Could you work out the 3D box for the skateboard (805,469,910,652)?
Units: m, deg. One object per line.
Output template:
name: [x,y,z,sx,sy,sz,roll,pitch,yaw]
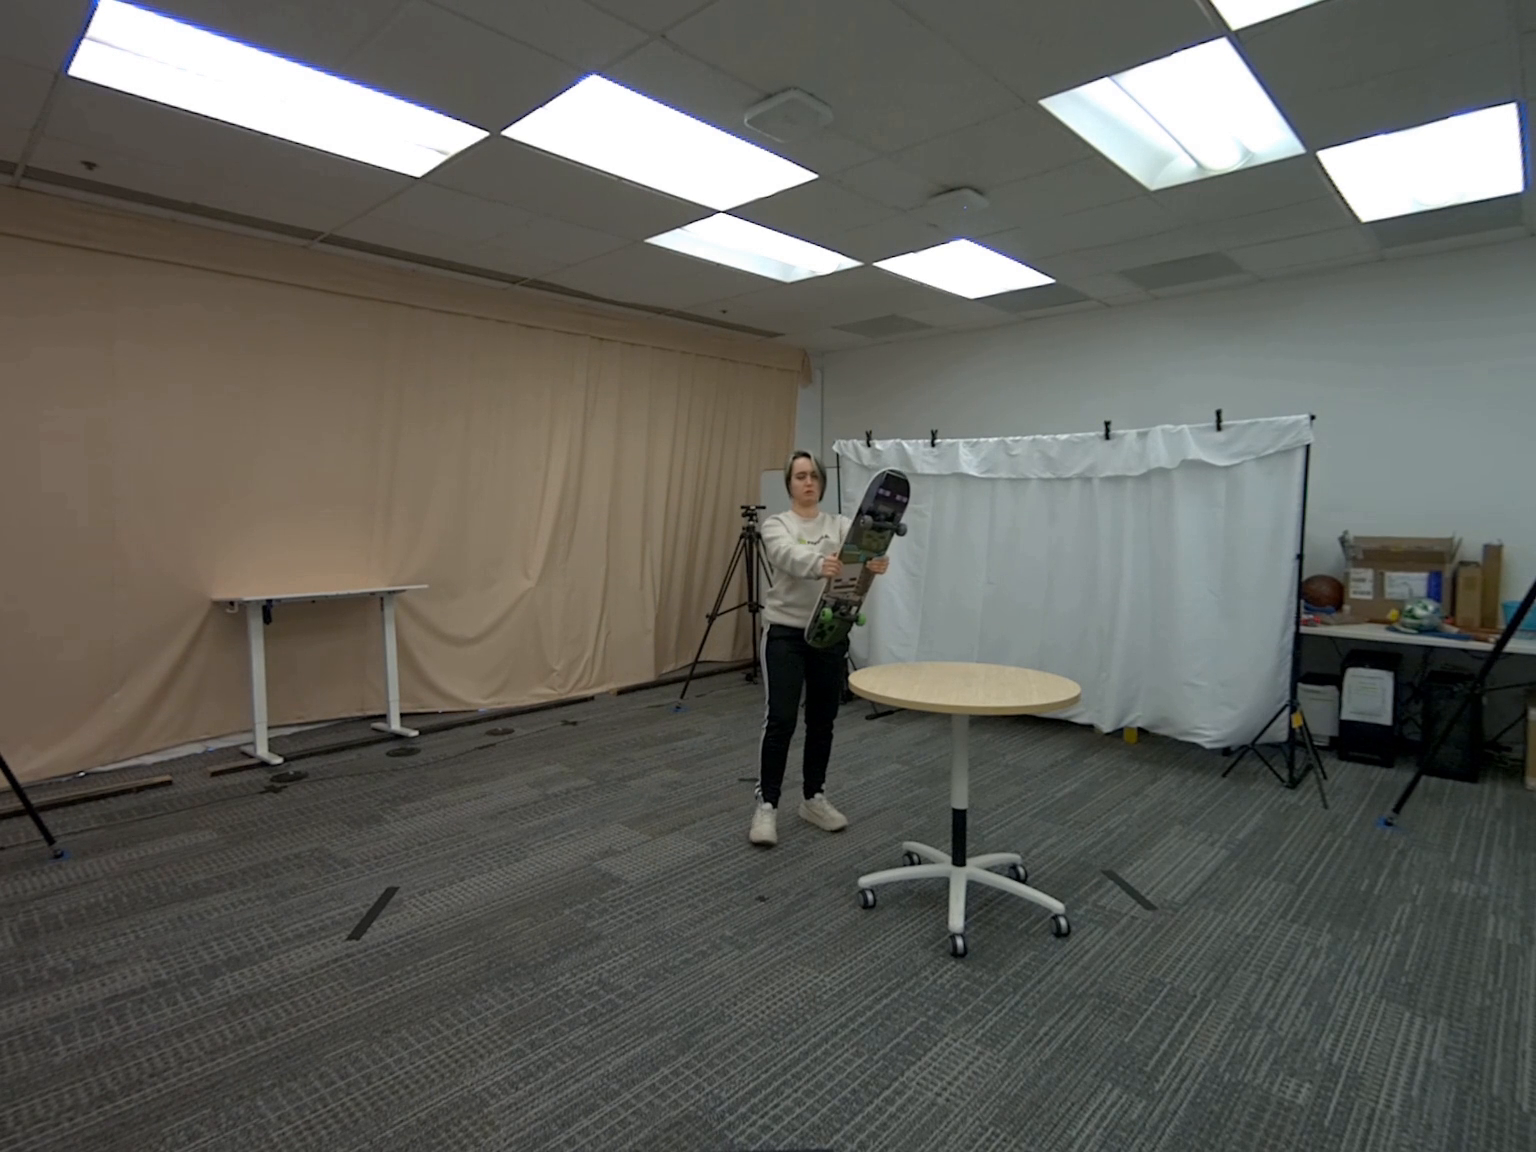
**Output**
skateboard: [0.342,-0.027,3.167,0.189,0.781,0.114,8,26,-24]
